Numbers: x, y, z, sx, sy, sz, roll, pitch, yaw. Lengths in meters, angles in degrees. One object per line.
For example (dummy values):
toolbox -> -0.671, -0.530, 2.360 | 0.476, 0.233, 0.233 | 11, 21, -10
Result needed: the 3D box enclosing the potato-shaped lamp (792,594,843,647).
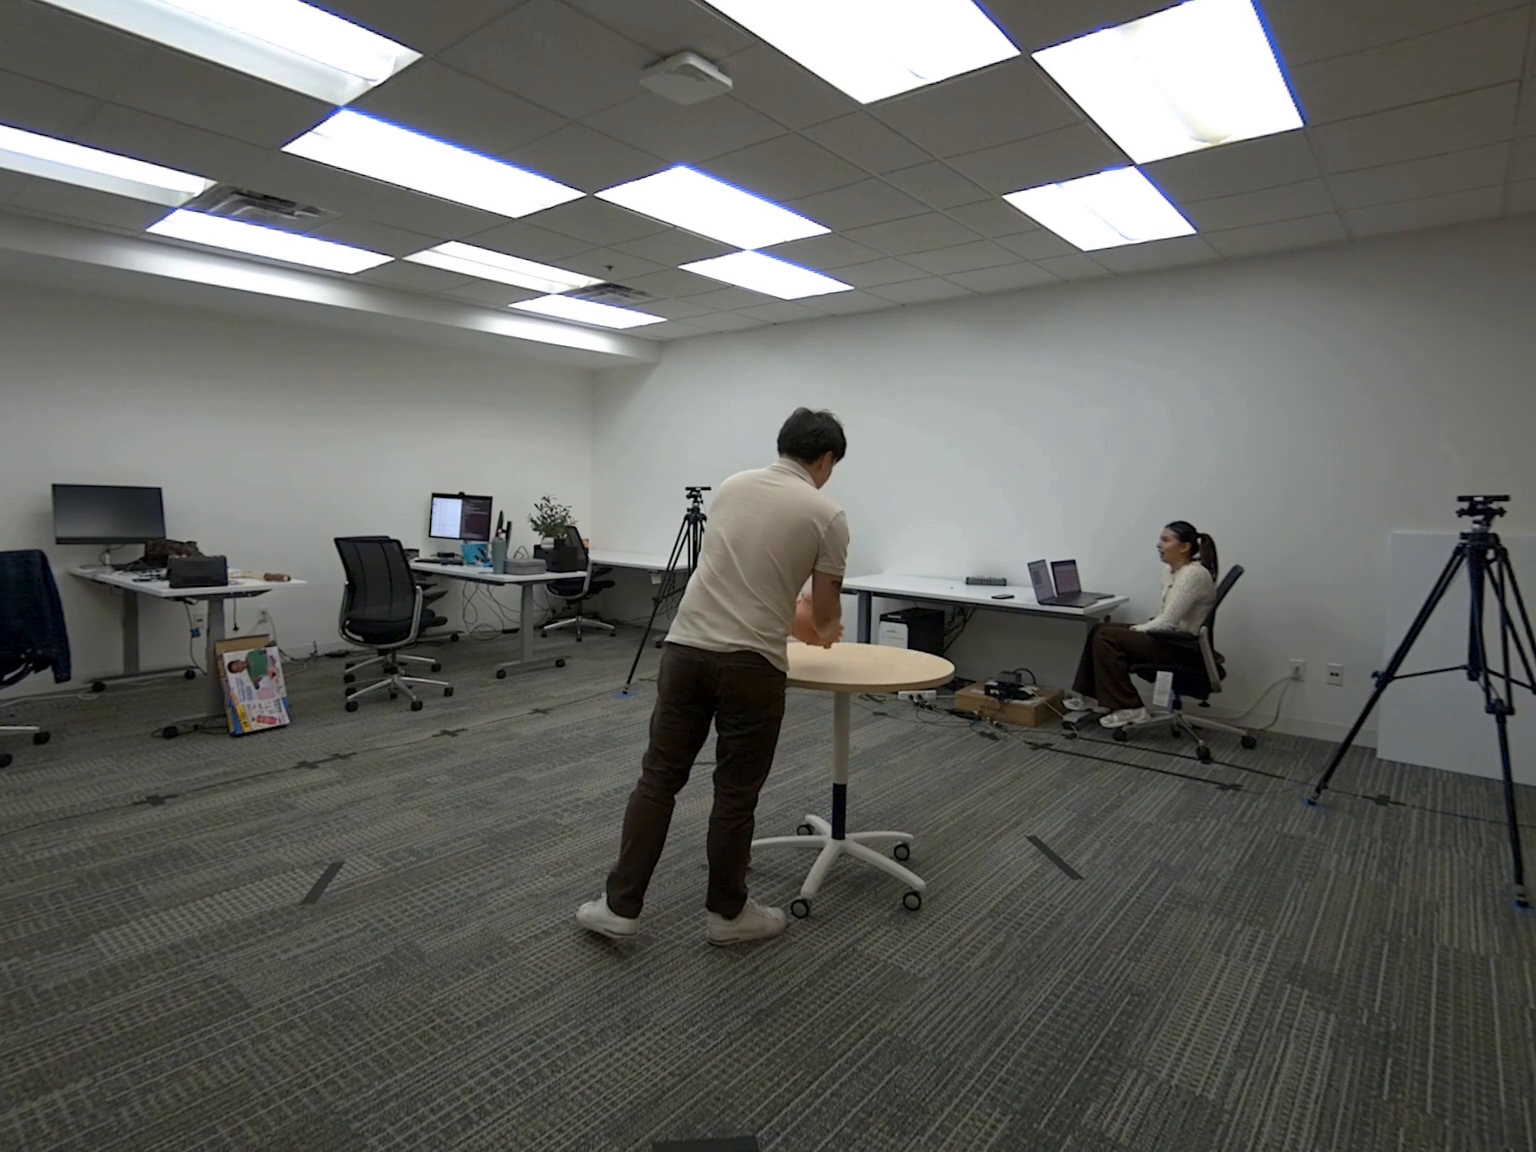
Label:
potato-shaped lamp -> 0.154, 0.134, 2.910 | 0.167, 0.197, 0.169 | 12, 4, -21
